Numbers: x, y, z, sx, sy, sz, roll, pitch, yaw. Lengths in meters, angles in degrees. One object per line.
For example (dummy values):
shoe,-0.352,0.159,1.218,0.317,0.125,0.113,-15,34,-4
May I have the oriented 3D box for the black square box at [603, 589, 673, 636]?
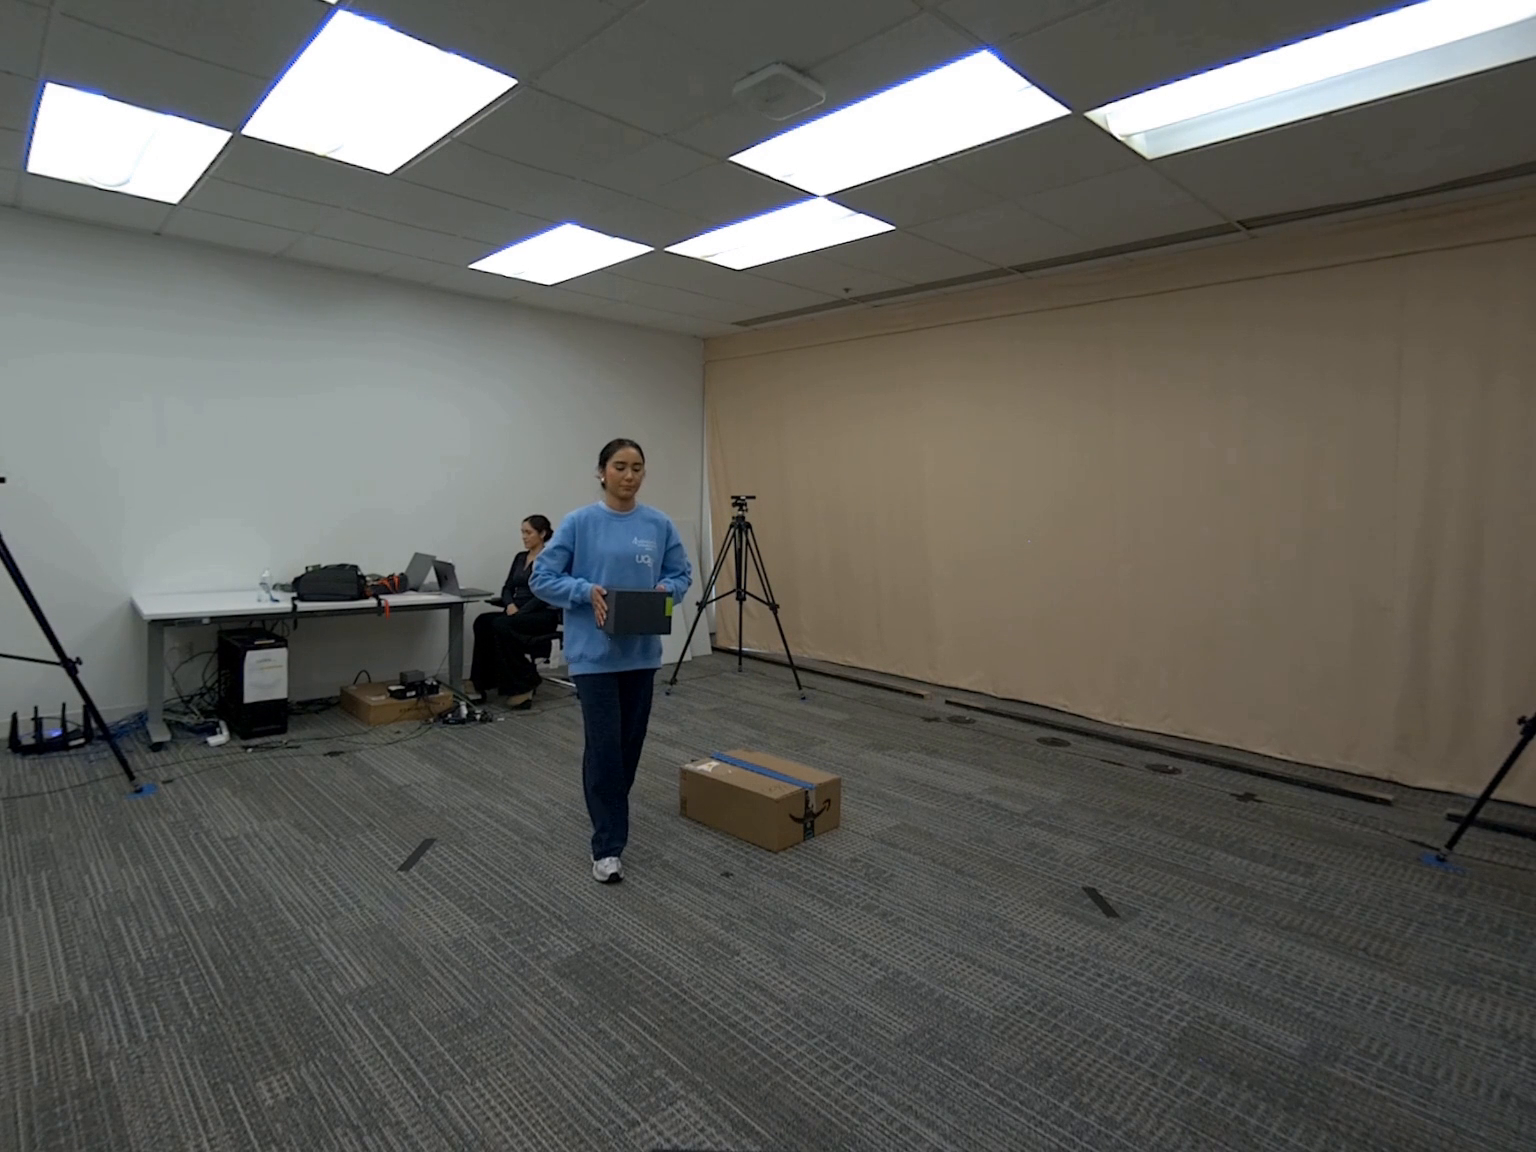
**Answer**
black square box,-0.487,0.115,3.047,0.213,0.156,0.232,1,1,-23
